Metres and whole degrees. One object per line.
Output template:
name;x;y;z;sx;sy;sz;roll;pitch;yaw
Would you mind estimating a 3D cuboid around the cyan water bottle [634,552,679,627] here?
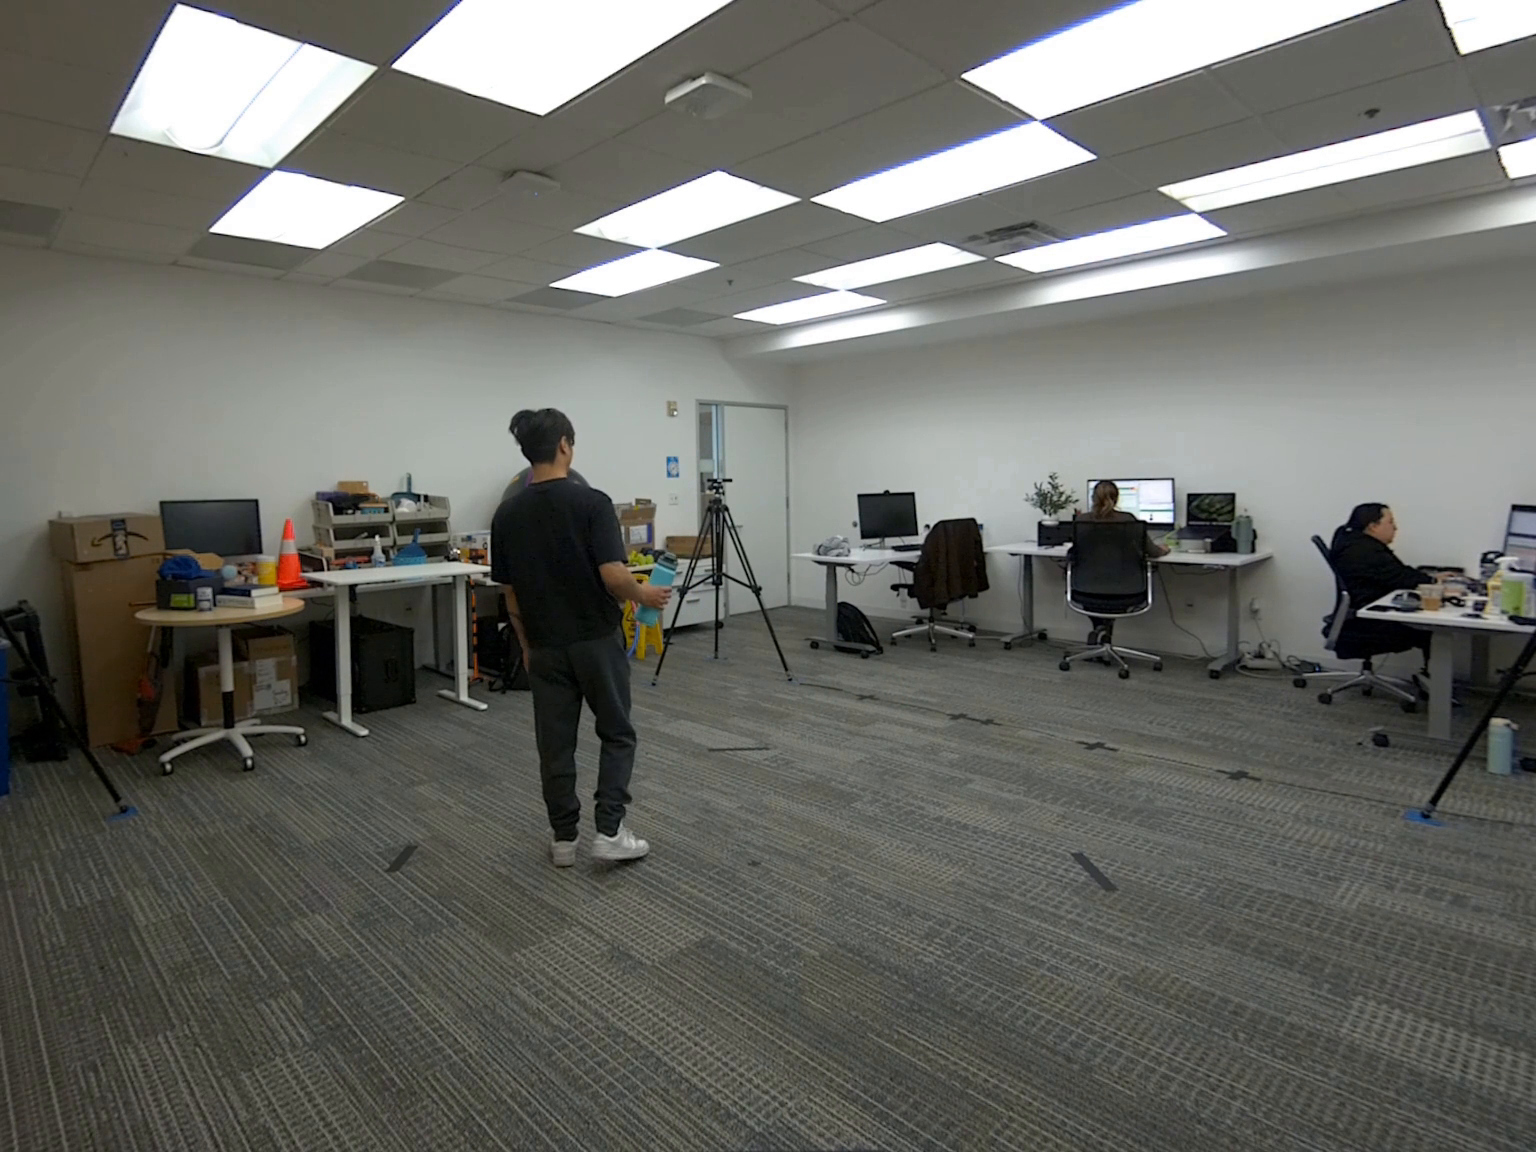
cyan water bottle;-0.425;0.049;3.264;0.092;0.284;0.092;19;-3;-1
